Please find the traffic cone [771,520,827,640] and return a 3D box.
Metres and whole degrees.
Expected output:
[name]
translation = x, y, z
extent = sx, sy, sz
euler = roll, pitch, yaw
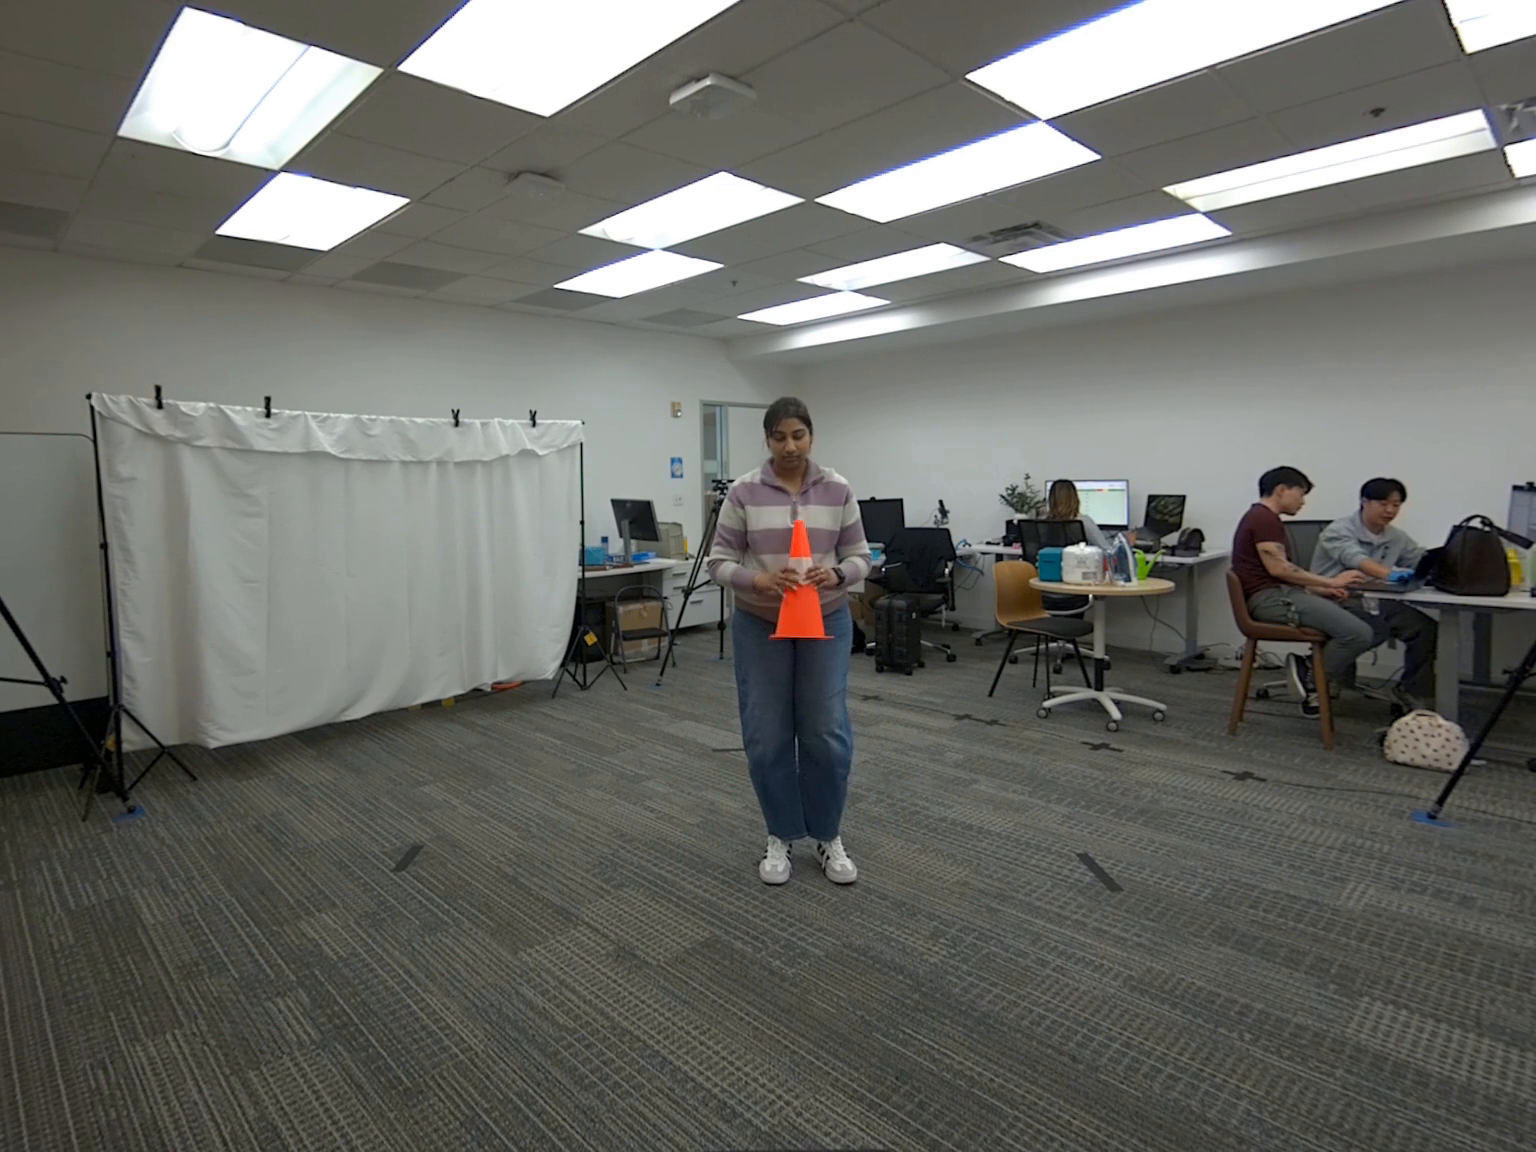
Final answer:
[traffic cone]
translation = 0.107, 0.014, 2.775
extent = 0.204, 0.386, 0.202
euler = -2, -6, -3
